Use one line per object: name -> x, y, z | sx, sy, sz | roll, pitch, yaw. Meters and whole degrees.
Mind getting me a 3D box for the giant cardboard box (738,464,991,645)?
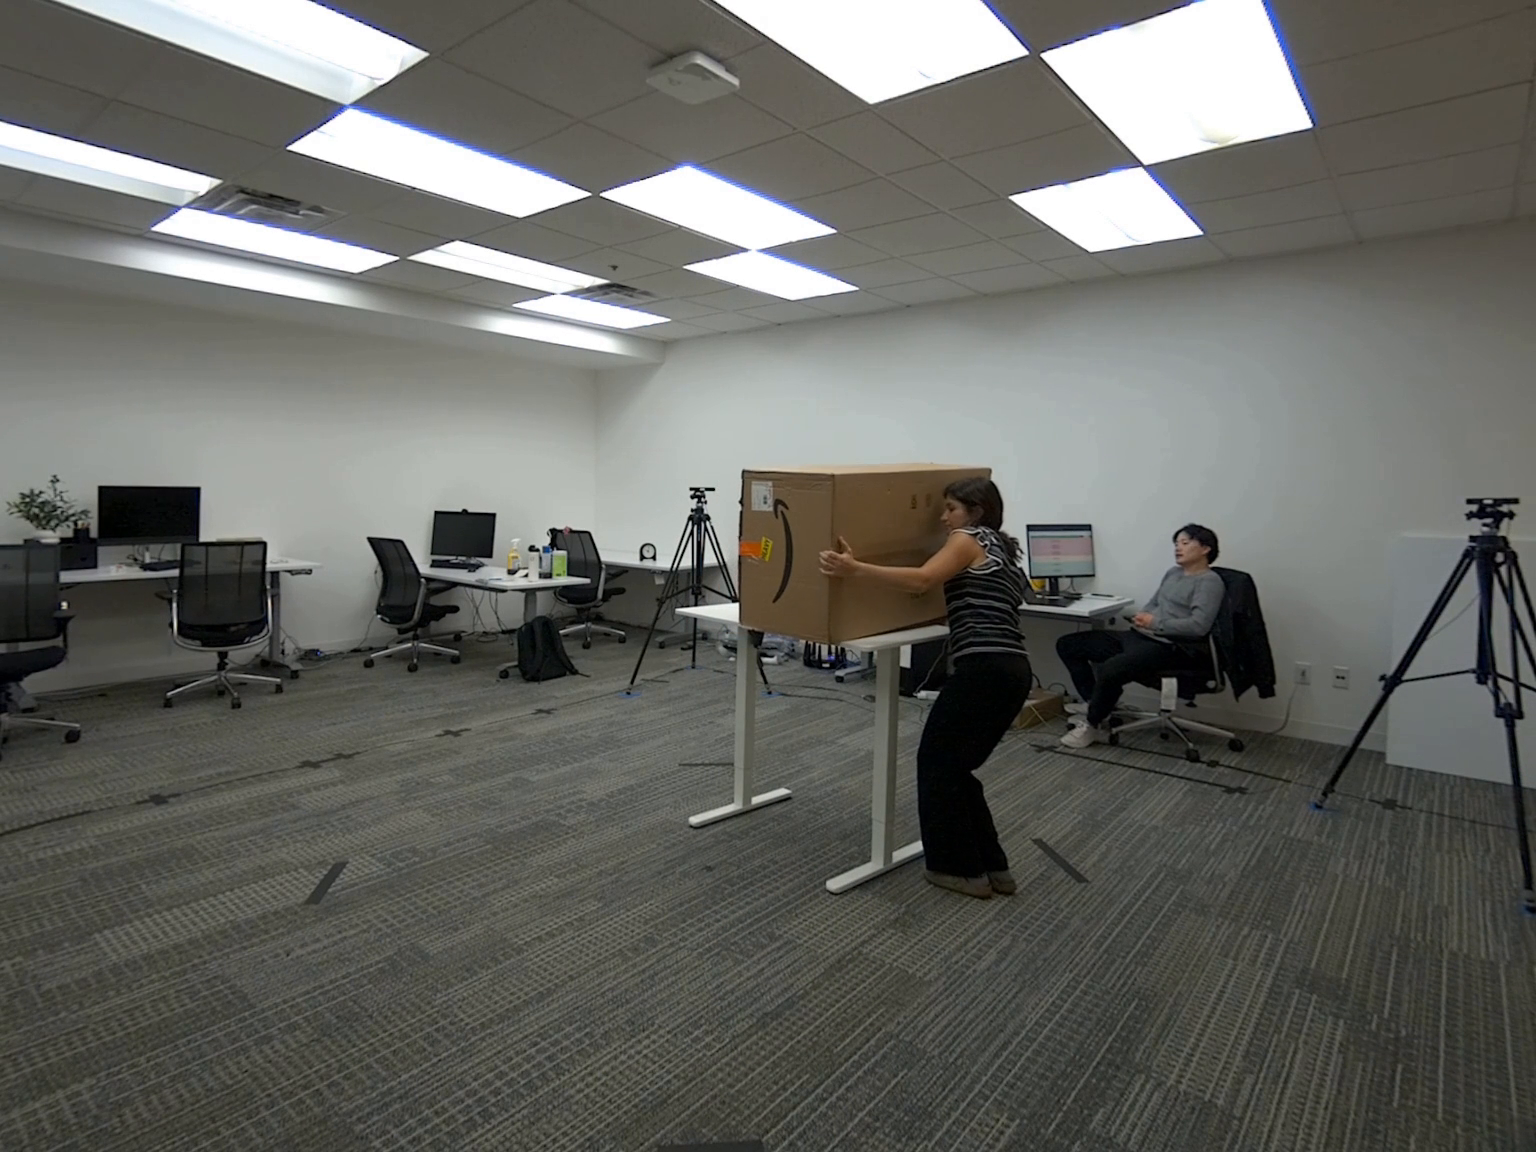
giant cardboard box -> 0.386, -0.136, 3.286 | 0.441, 0.574, 0.997 | 7, 11, 44
